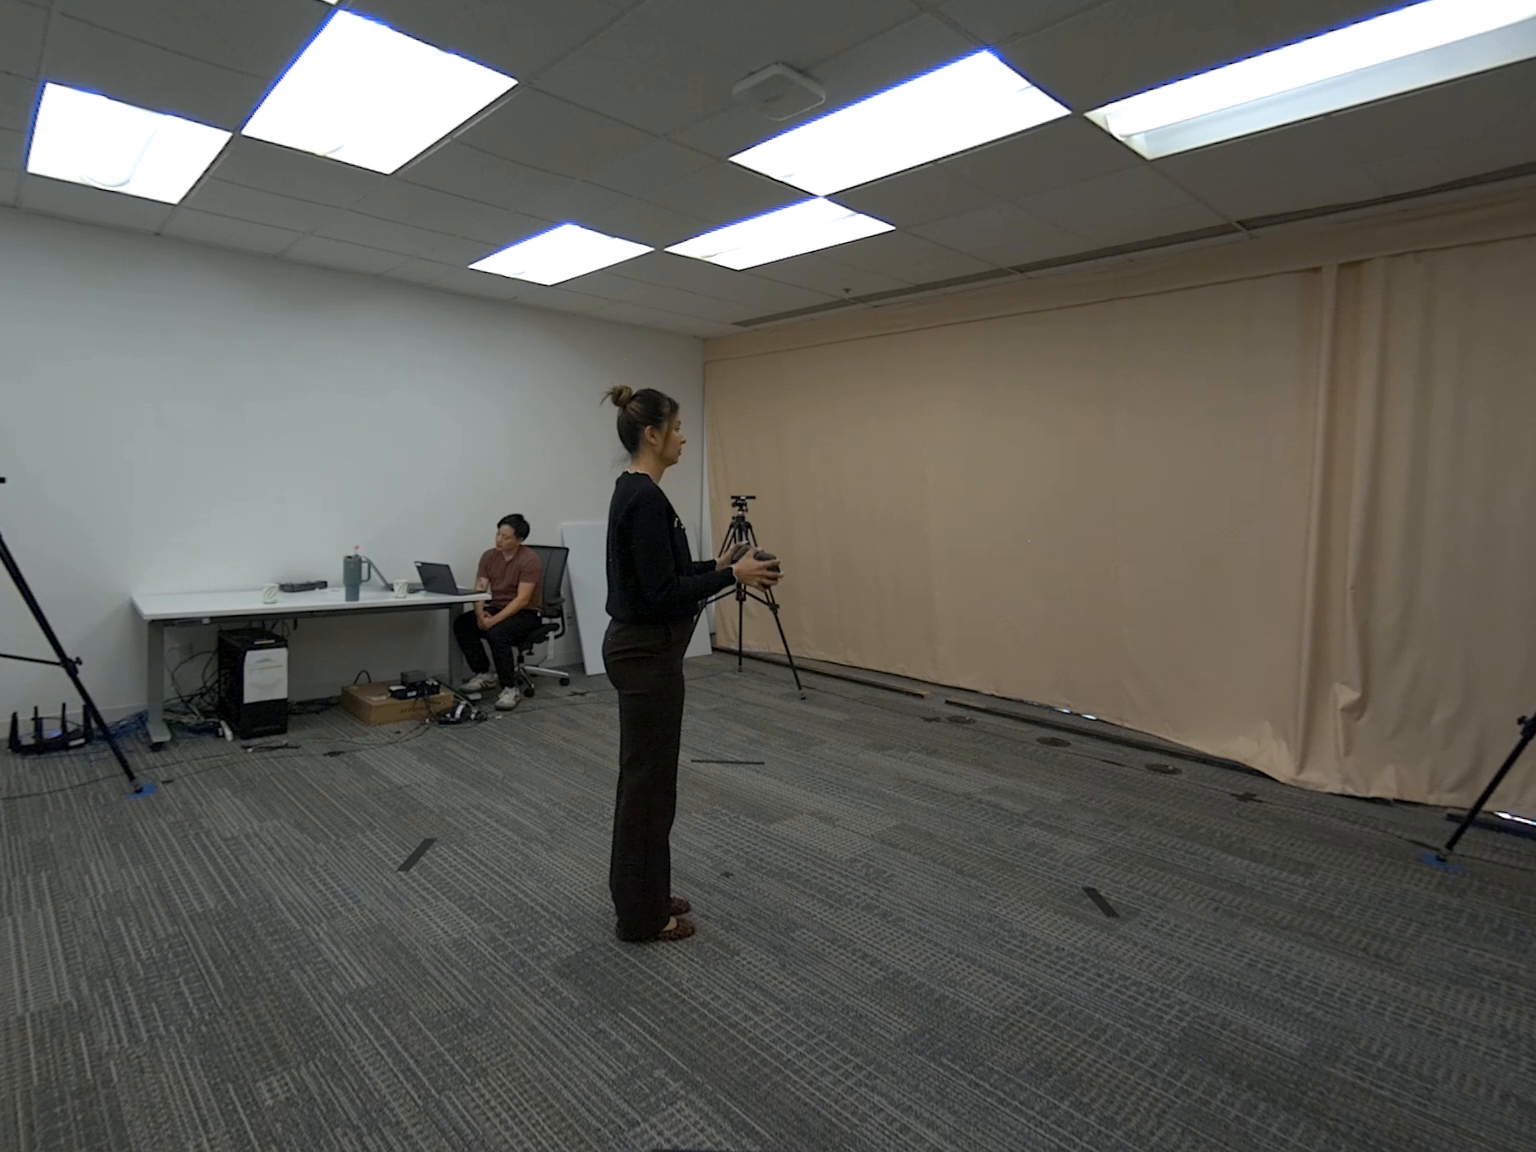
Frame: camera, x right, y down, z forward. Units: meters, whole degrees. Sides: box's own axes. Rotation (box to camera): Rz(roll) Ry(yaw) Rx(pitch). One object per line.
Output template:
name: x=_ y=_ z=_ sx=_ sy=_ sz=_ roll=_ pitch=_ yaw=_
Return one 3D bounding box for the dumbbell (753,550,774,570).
dumbbell: x=-0.085 y=-0.029 z=2.718 sx=0.123 sy=0.108 sz=0.294 roll=18 pitch=7 yaw=-1
